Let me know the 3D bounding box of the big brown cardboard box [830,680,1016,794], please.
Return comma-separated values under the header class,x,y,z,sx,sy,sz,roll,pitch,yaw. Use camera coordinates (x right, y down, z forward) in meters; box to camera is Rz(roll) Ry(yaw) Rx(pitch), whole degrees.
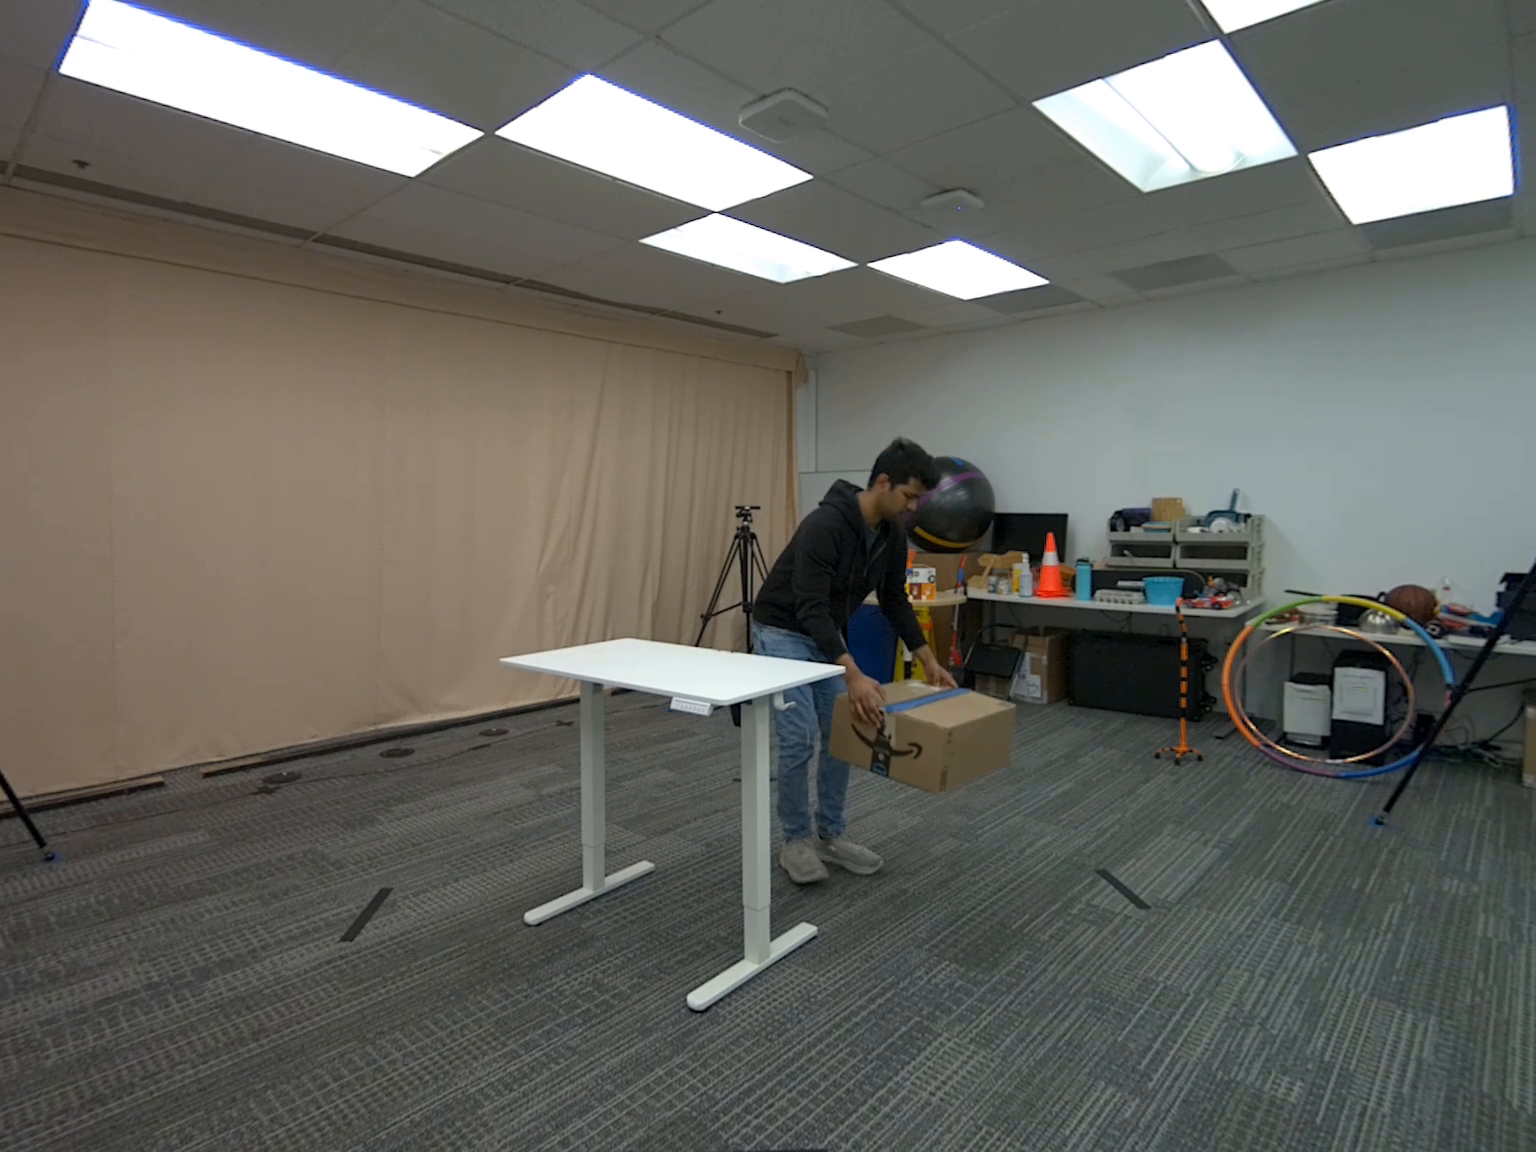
class,x,y,z,sx,sy,sz,roll,pitch,yaw
big brown cardboard box,0.556,0.544,2.947,0.432,0.232,0.571,9,7,39
